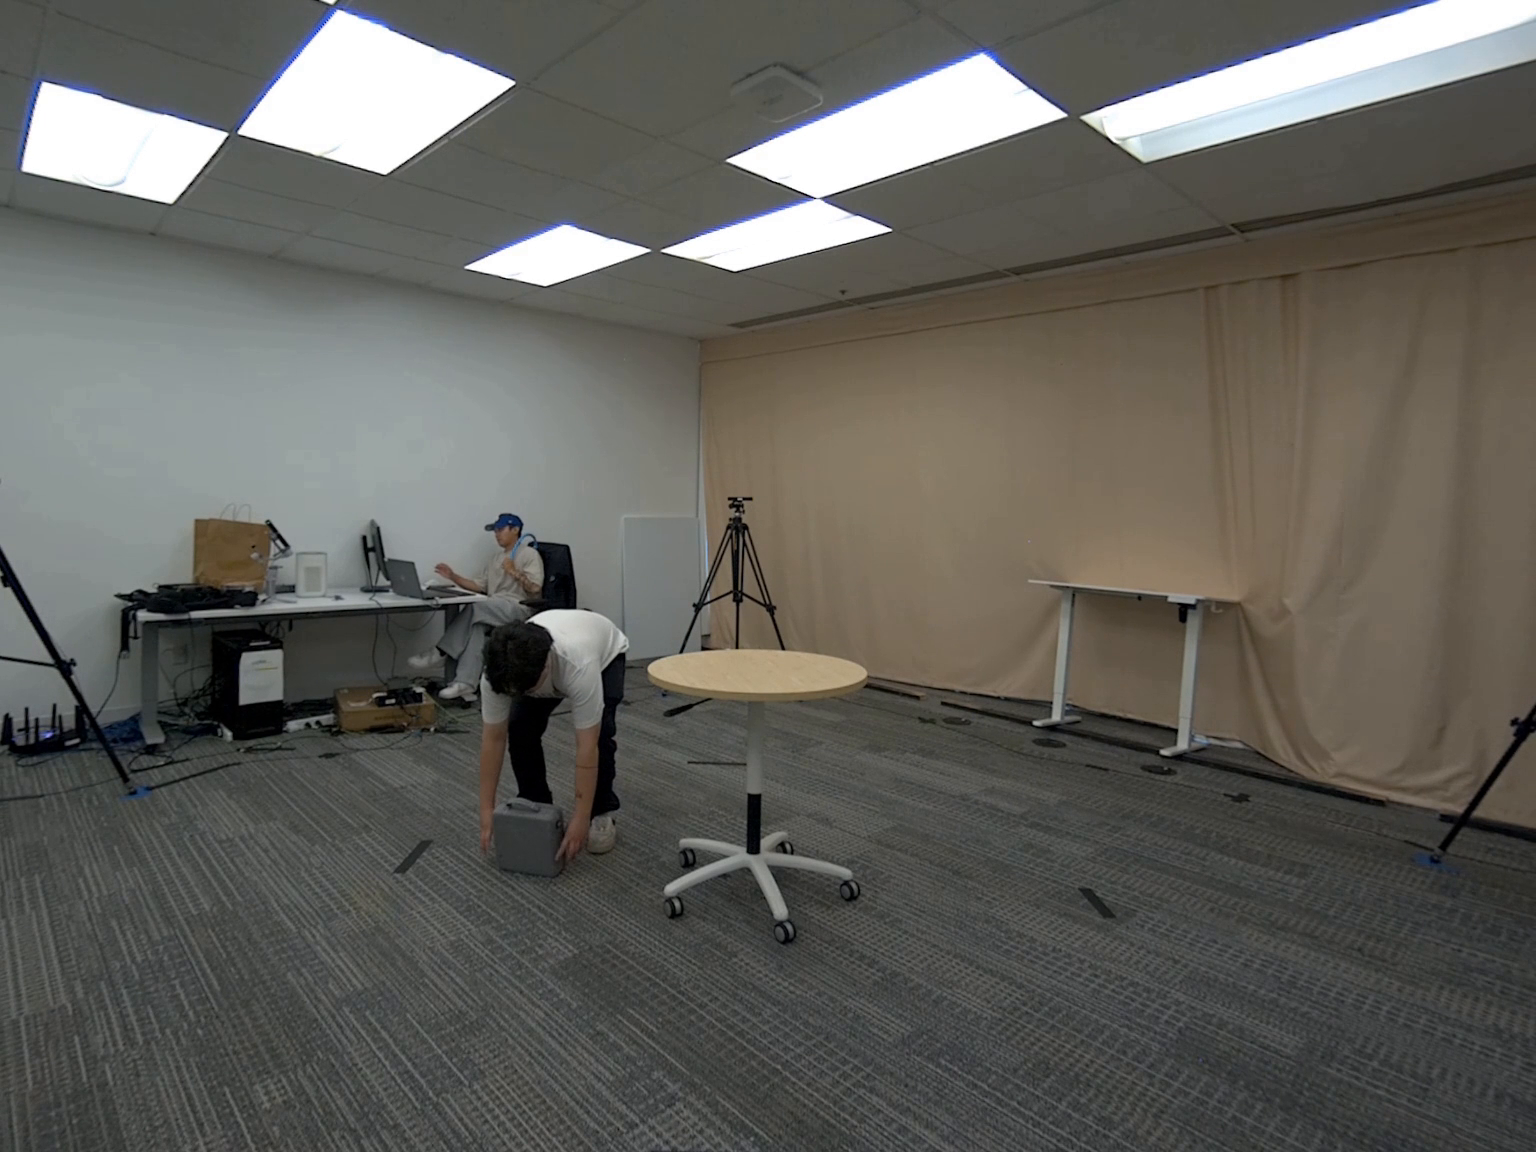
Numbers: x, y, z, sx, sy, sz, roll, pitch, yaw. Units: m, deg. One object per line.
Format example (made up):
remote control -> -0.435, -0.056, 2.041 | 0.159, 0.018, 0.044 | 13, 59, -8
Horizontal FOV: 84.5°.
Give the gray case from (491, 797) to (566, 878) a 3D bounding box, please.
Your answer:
gray case -> -0.888, 0.973, 3.071 | 0.260, 0.258, 0.104 | 1, 13, 15
